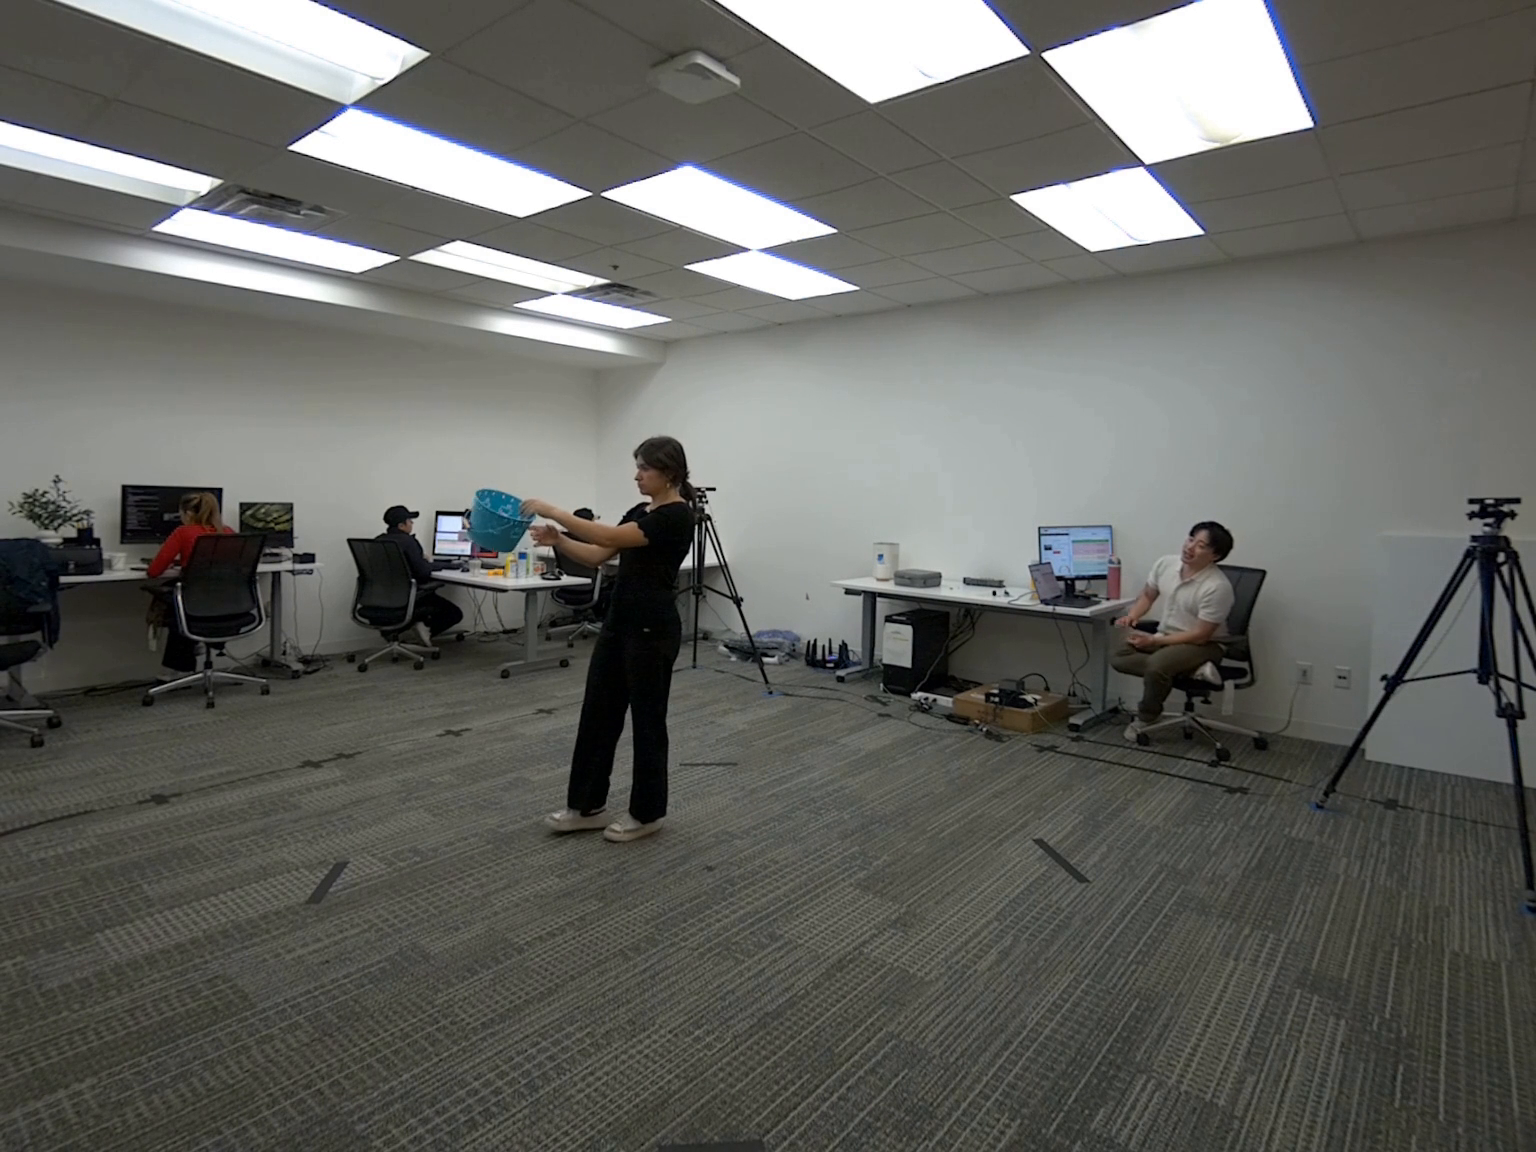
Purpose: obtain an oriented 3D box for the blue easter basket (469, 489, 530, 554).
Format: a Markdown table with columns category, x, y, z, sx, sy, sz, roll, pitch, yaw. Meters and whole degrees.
| category | x | y | z | sx | sy | sz | roll | pitch | yaw |
| --- | --- | --- | --- | --- | --- | --- | --- | --- | --- |
| blue easter basket | -1.005 | -0.196 | 3.091 | 0.240 | 0.155 | 0.249 | 26 | 20 | -12 |
